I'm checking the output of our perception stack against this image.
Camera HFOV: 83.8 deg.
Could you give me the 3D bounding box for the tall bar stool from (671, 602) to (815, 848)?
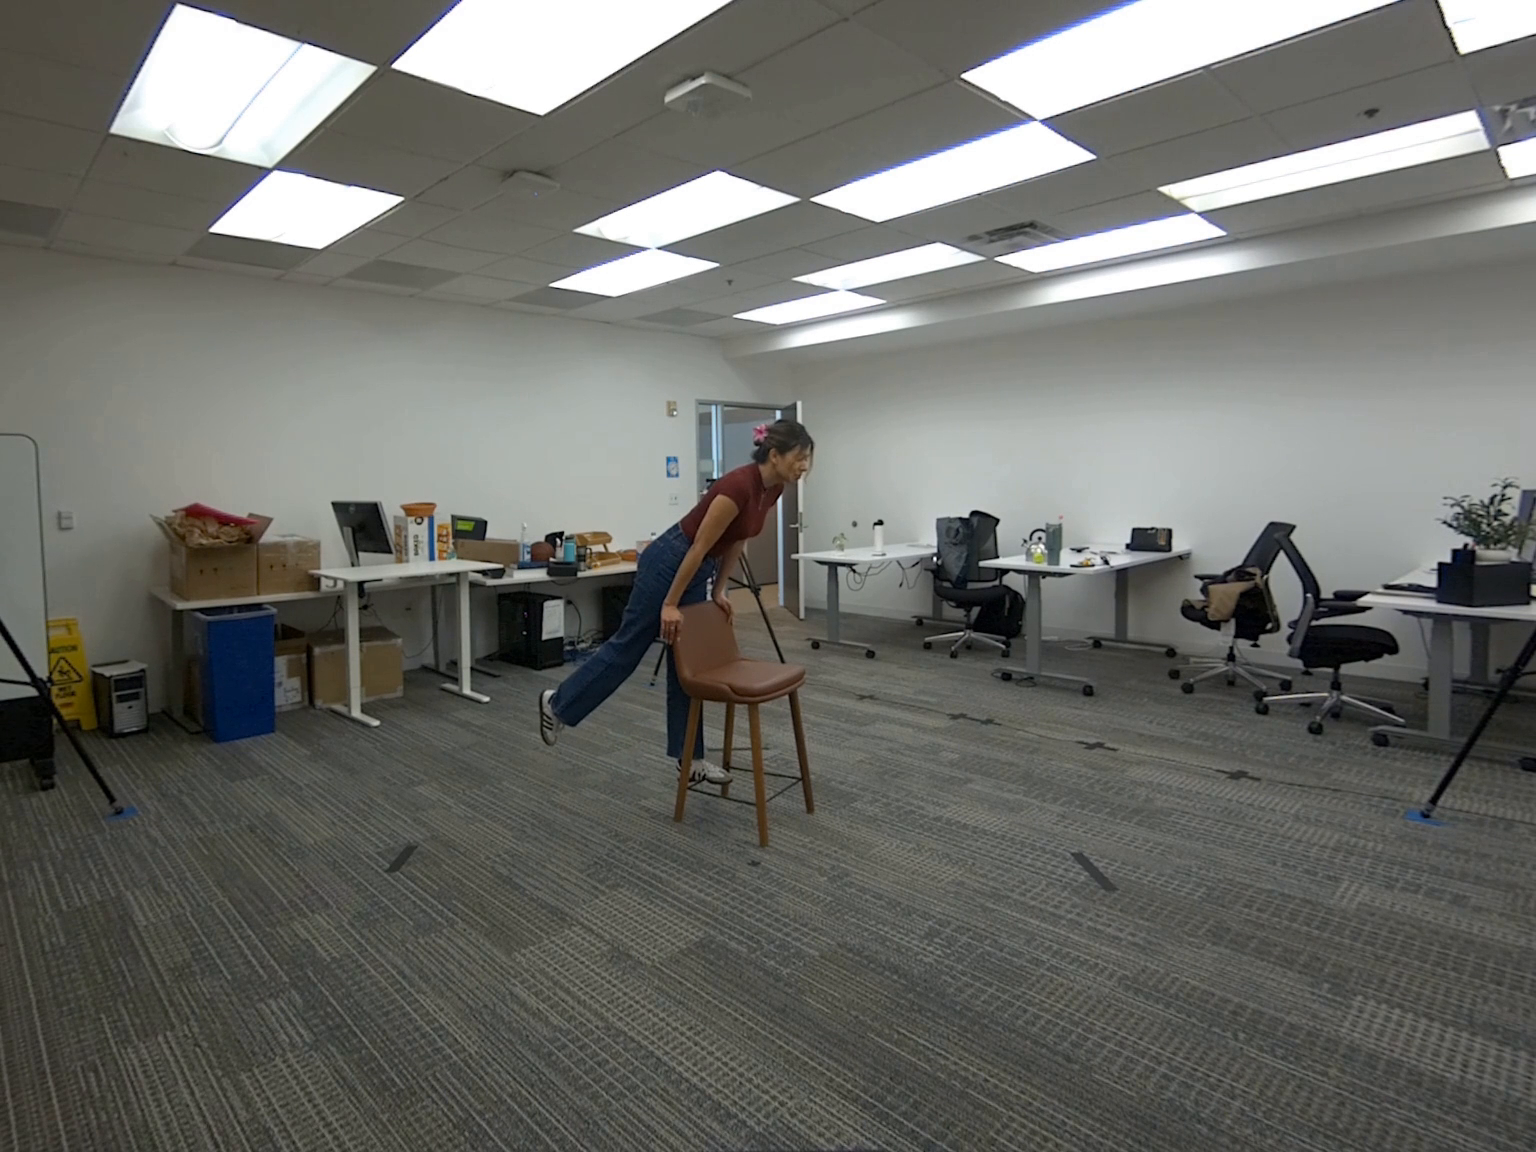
[{"bbox_3d":[-0.116,0.563,3.513,0.480,0.888,0.445,-1,3,33],"label":"tall bar stool"}]
